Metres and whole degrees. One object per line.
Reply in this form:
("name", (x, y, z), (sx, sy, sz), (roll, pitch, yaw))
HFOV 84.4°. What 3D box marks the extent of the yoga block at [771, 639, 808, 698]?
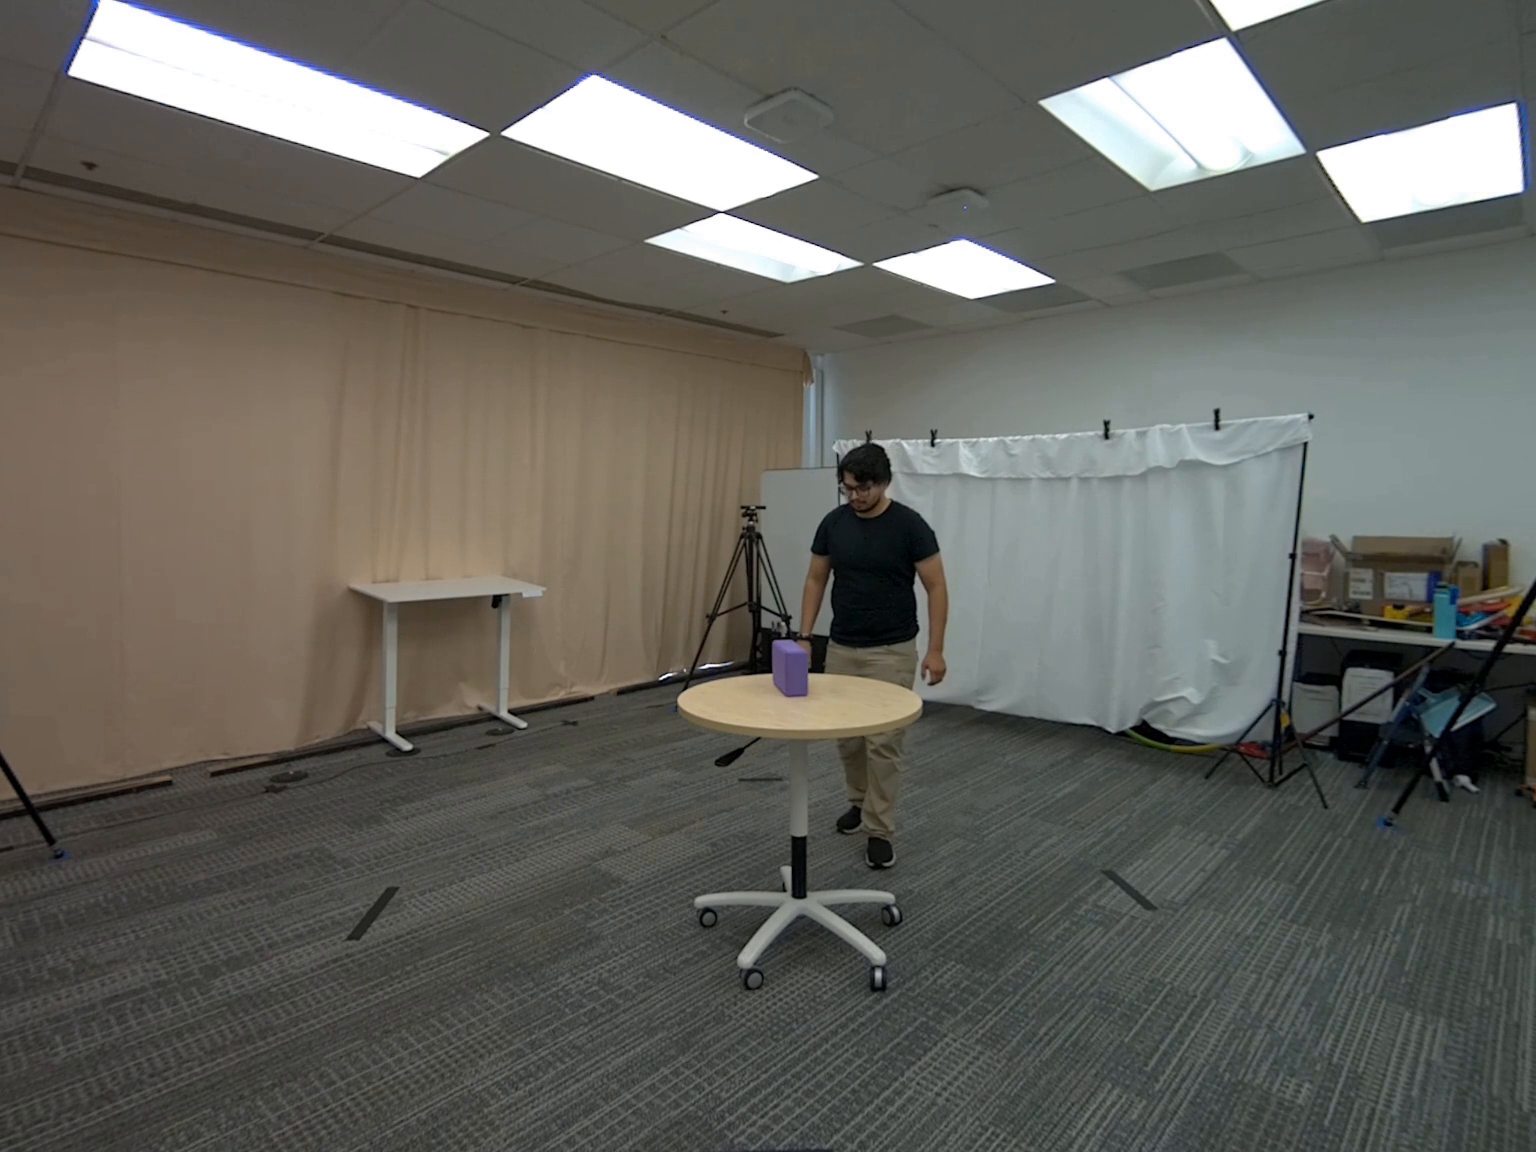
("yoga block", (0.080, 0.302, 2.781), (0.076, 0.148, 0.231), (-1, 4, -7))
